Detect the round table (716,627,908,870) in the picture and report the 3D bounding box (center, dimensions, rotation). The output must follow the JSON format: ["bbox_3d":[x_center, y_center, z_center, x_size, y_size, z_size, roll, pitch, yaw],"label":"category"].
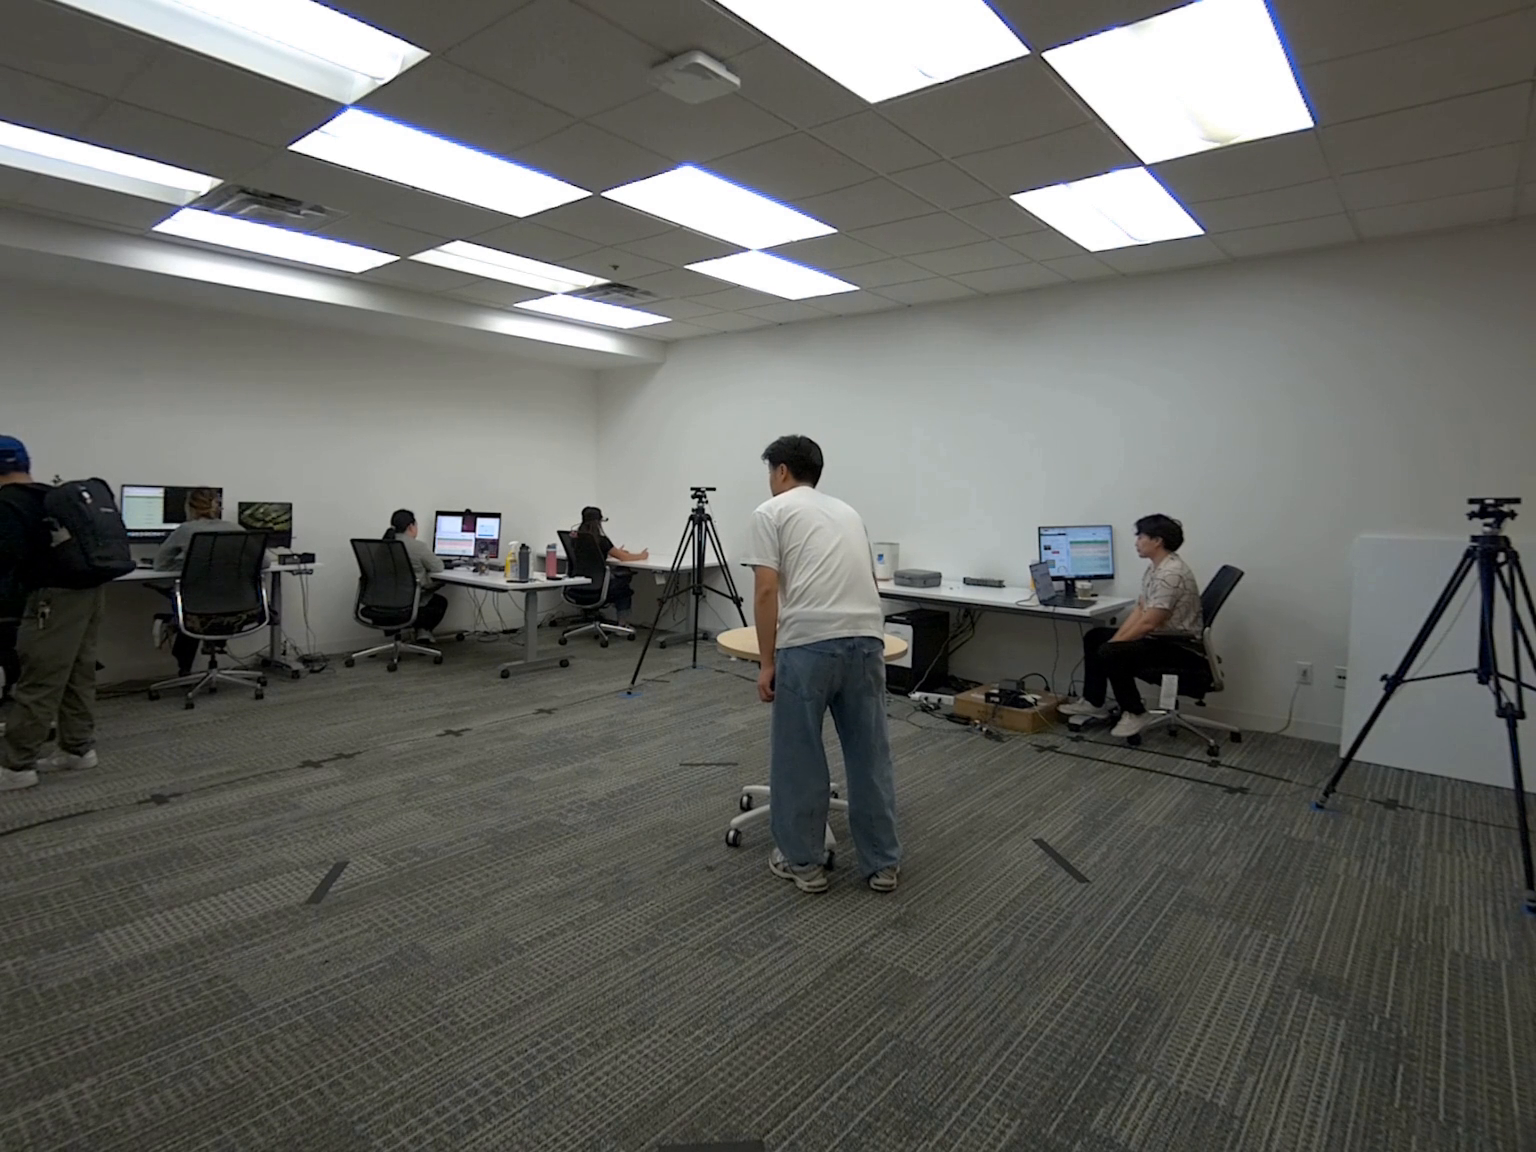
[{"bbox_3d":[0.147,0.645,3.464,0.763,0.791,0.768,1,4,-2],"label":"round table"}]
